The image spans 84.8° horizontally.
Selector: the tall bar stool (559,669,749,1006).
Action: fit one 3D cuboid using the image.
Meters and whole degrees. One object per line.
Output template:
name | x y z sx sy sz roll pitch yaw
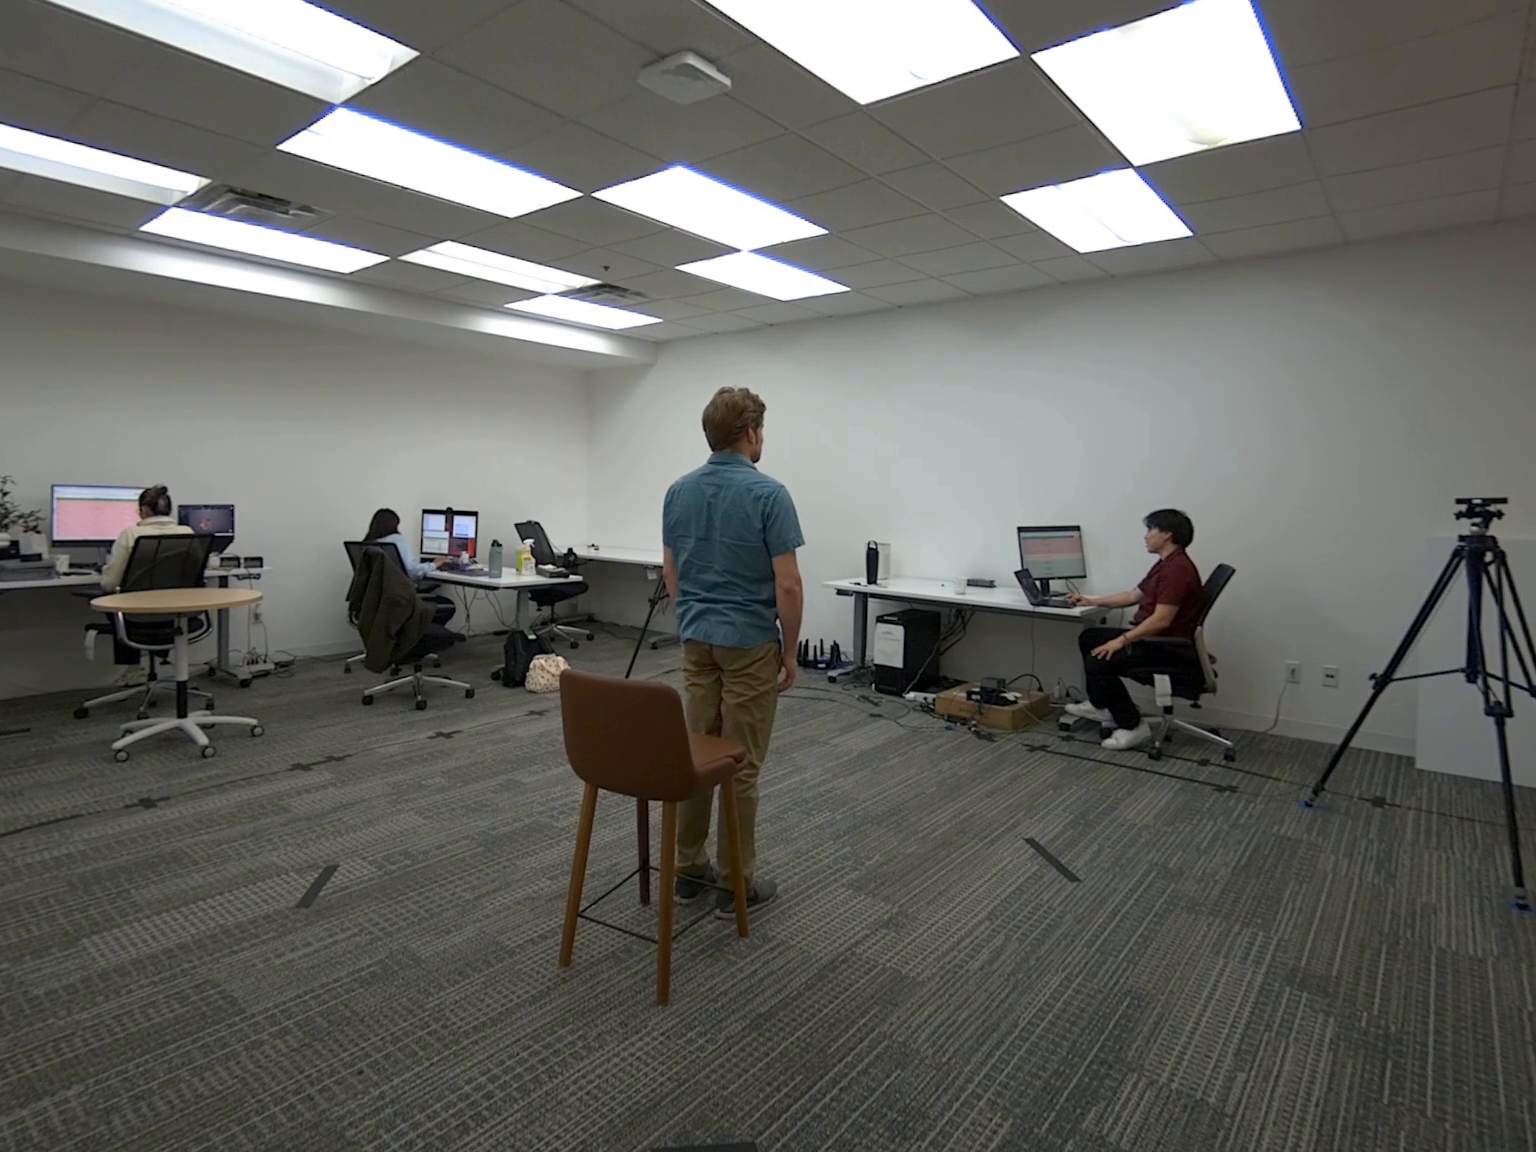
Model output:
tall bar stool | -0.352 0.688 2.542 0.469 0.886 0.457 2 6 29
